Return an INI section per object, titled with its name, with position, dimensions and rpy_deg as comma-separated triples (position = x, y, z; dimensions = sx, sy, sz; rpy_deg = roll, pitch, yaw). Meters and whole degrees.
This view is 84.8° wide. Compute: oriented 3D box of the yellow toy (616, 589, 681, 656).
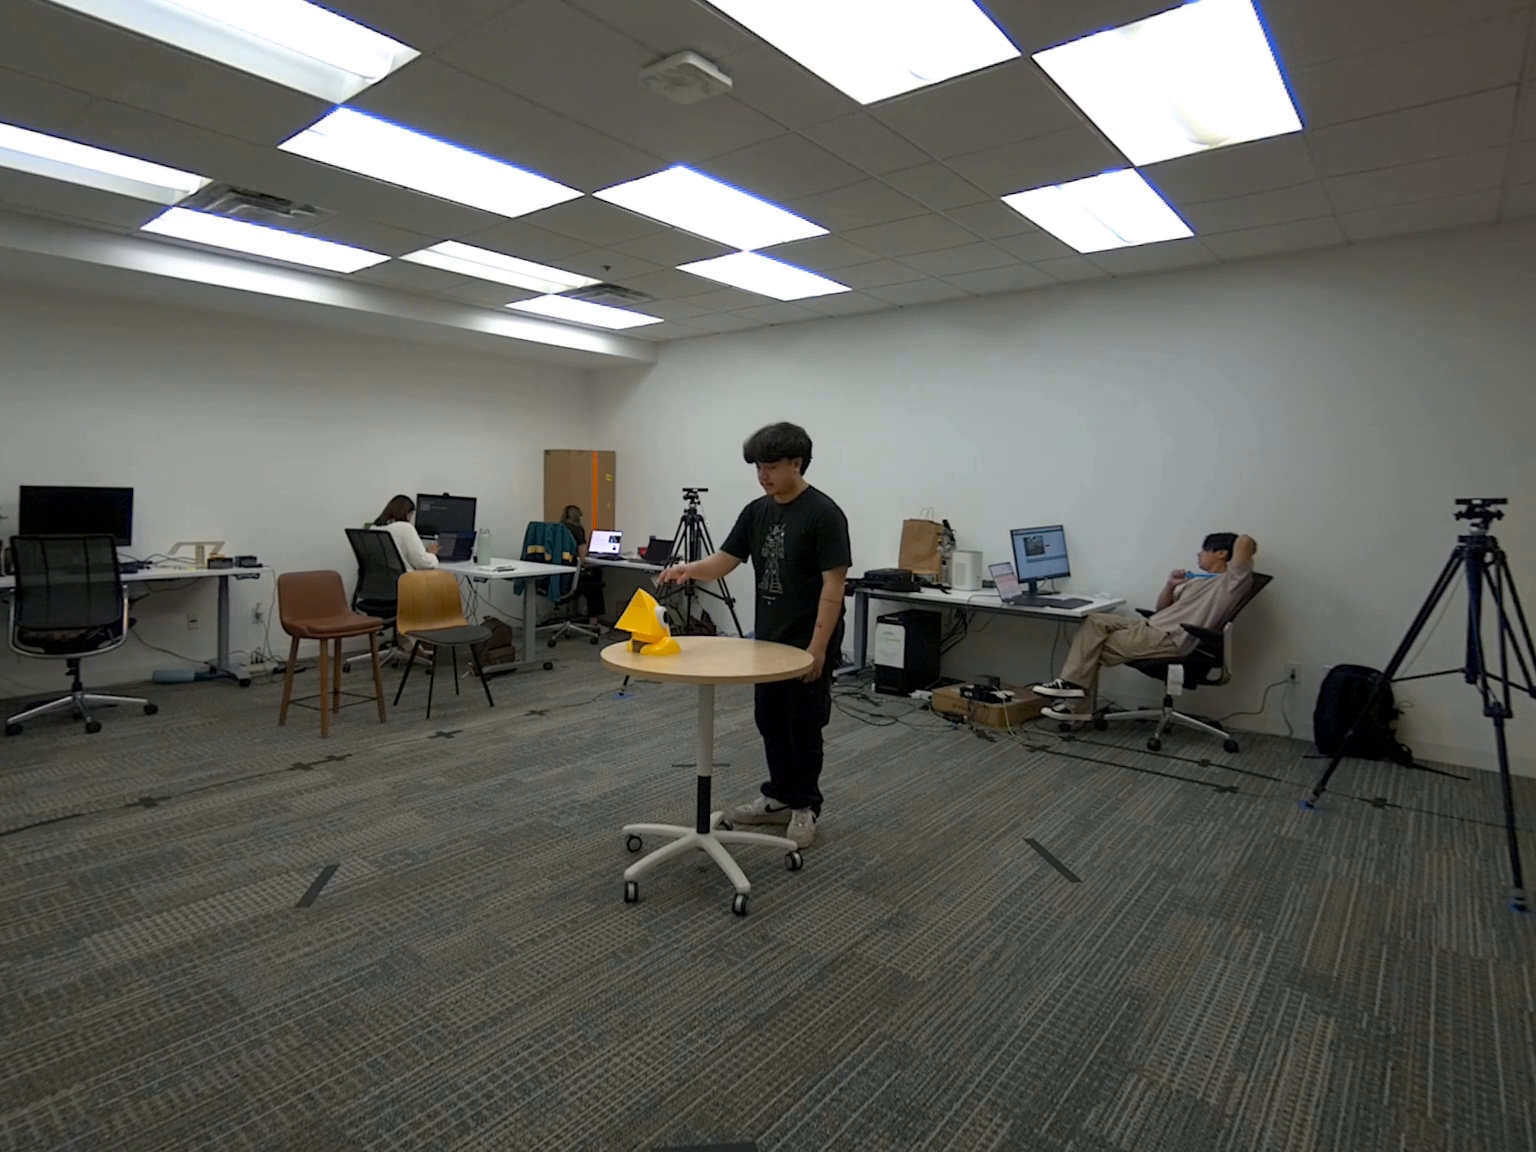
[yellow toy]
position = -0.438, 0.157, 3.109
dimensions = 0.187, 0.230, 0.212
rpy_deg = -1, 5, -44
